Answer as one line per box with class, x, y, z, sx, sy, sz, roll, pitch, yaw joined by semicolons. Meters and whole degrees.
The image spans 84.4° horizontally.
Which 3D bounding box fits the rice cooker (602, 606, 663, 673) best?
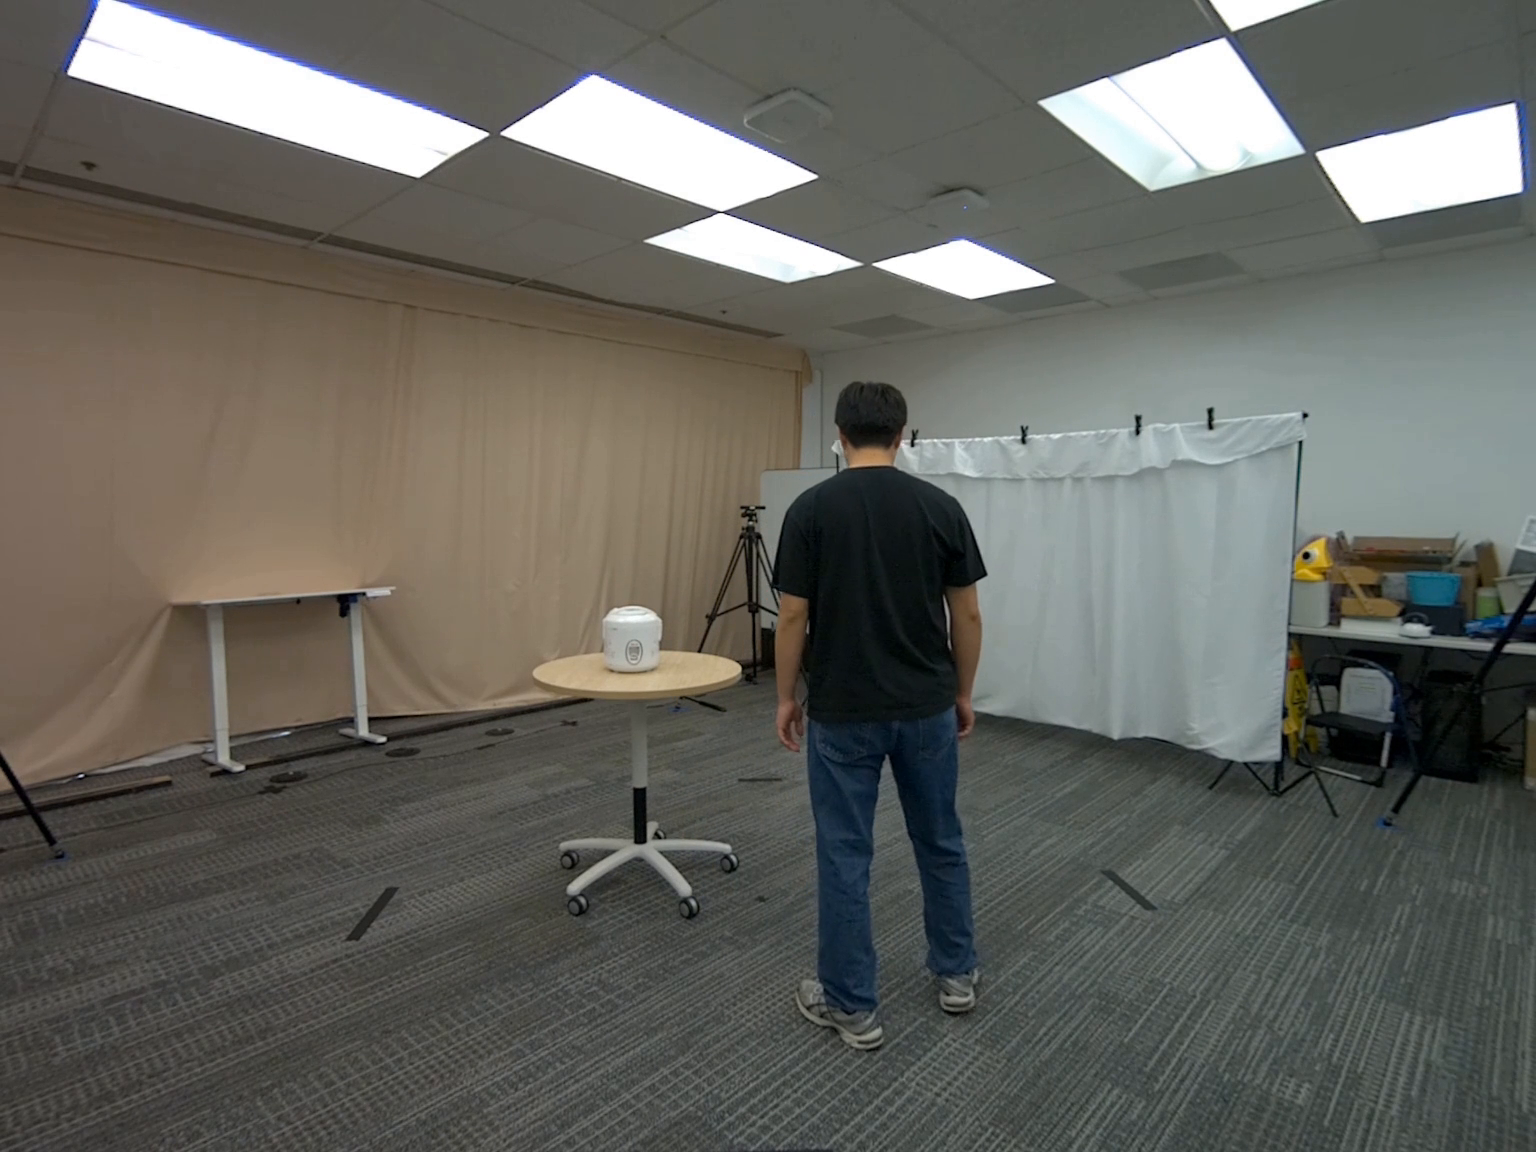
rice cooker;-0.500;0.229;3.101;0.218;0.232;0.220;-2;4;-12
